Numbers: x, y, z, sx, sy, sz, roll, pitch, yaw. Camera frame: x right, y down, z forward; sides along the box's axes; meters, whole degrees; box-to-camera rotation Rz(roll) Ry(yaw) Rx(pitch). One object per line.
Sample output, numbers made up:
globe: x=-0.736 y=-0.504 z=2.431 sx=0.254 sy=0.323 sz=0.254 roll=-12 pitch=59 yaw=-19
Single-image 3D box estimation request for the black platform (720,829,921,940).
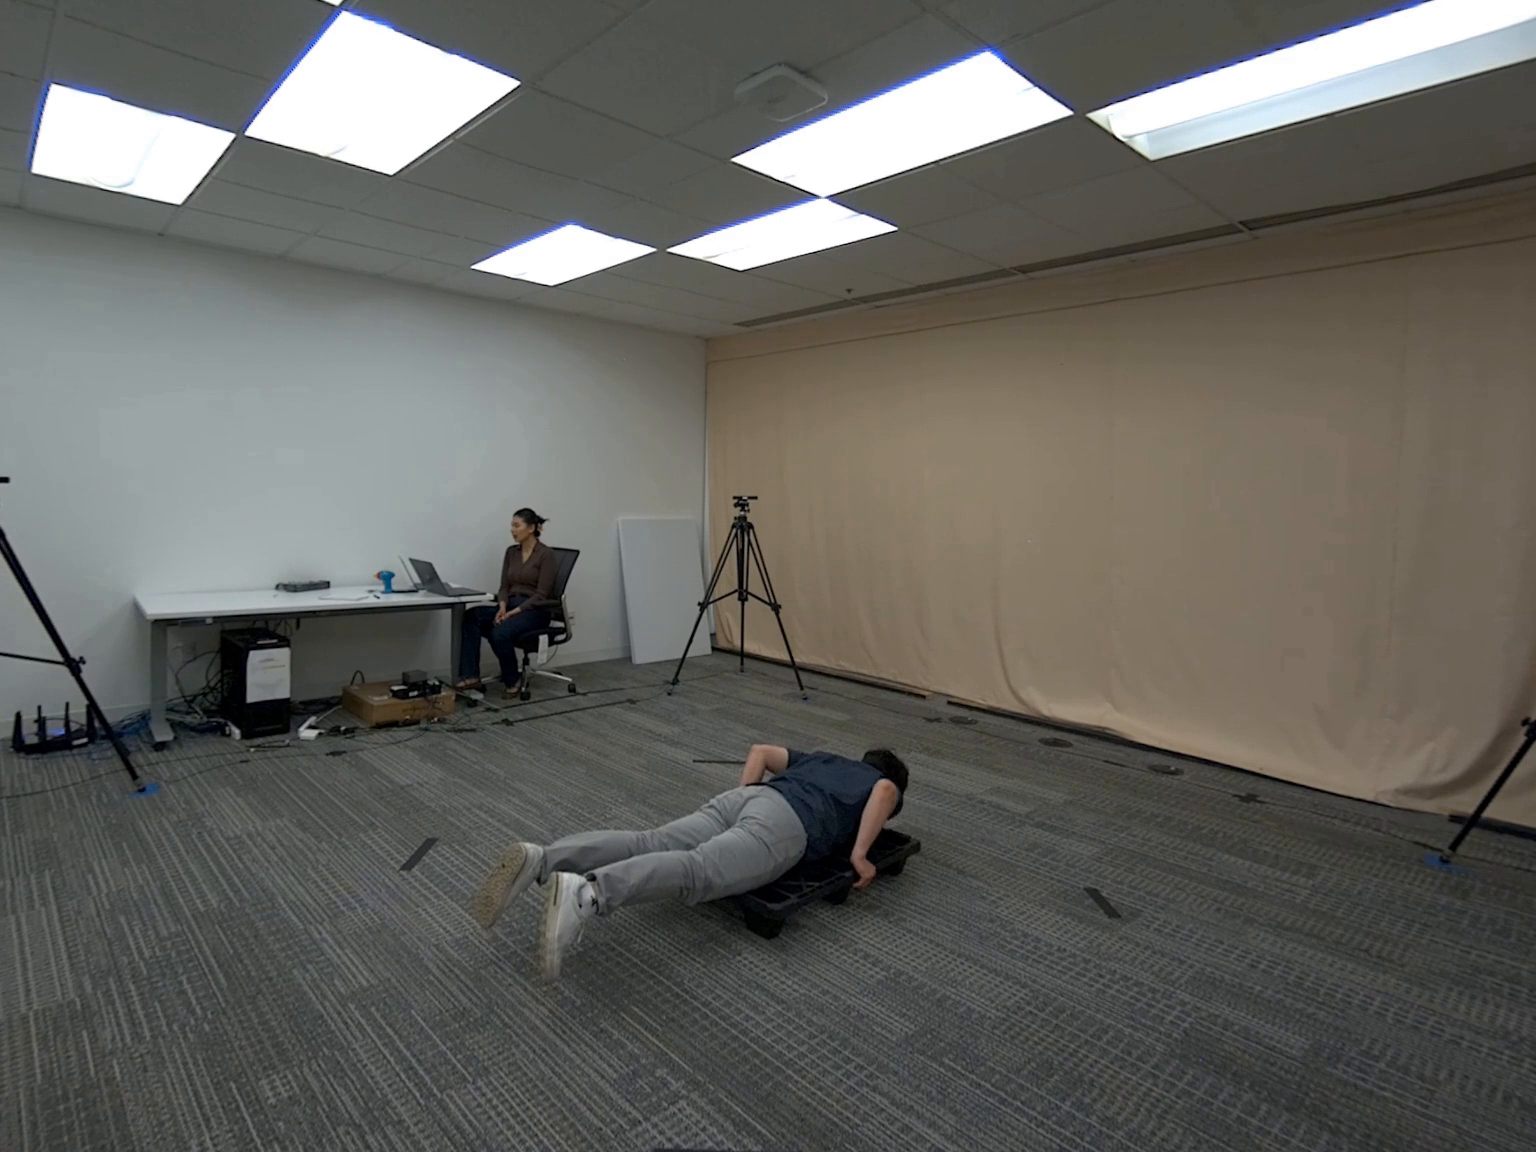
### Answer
black platform: x=0.083 y=1.050 z=3.059 sx=0.620 sy=0.143 sz=0.787 roll=6 pitch=7 yaw=44
